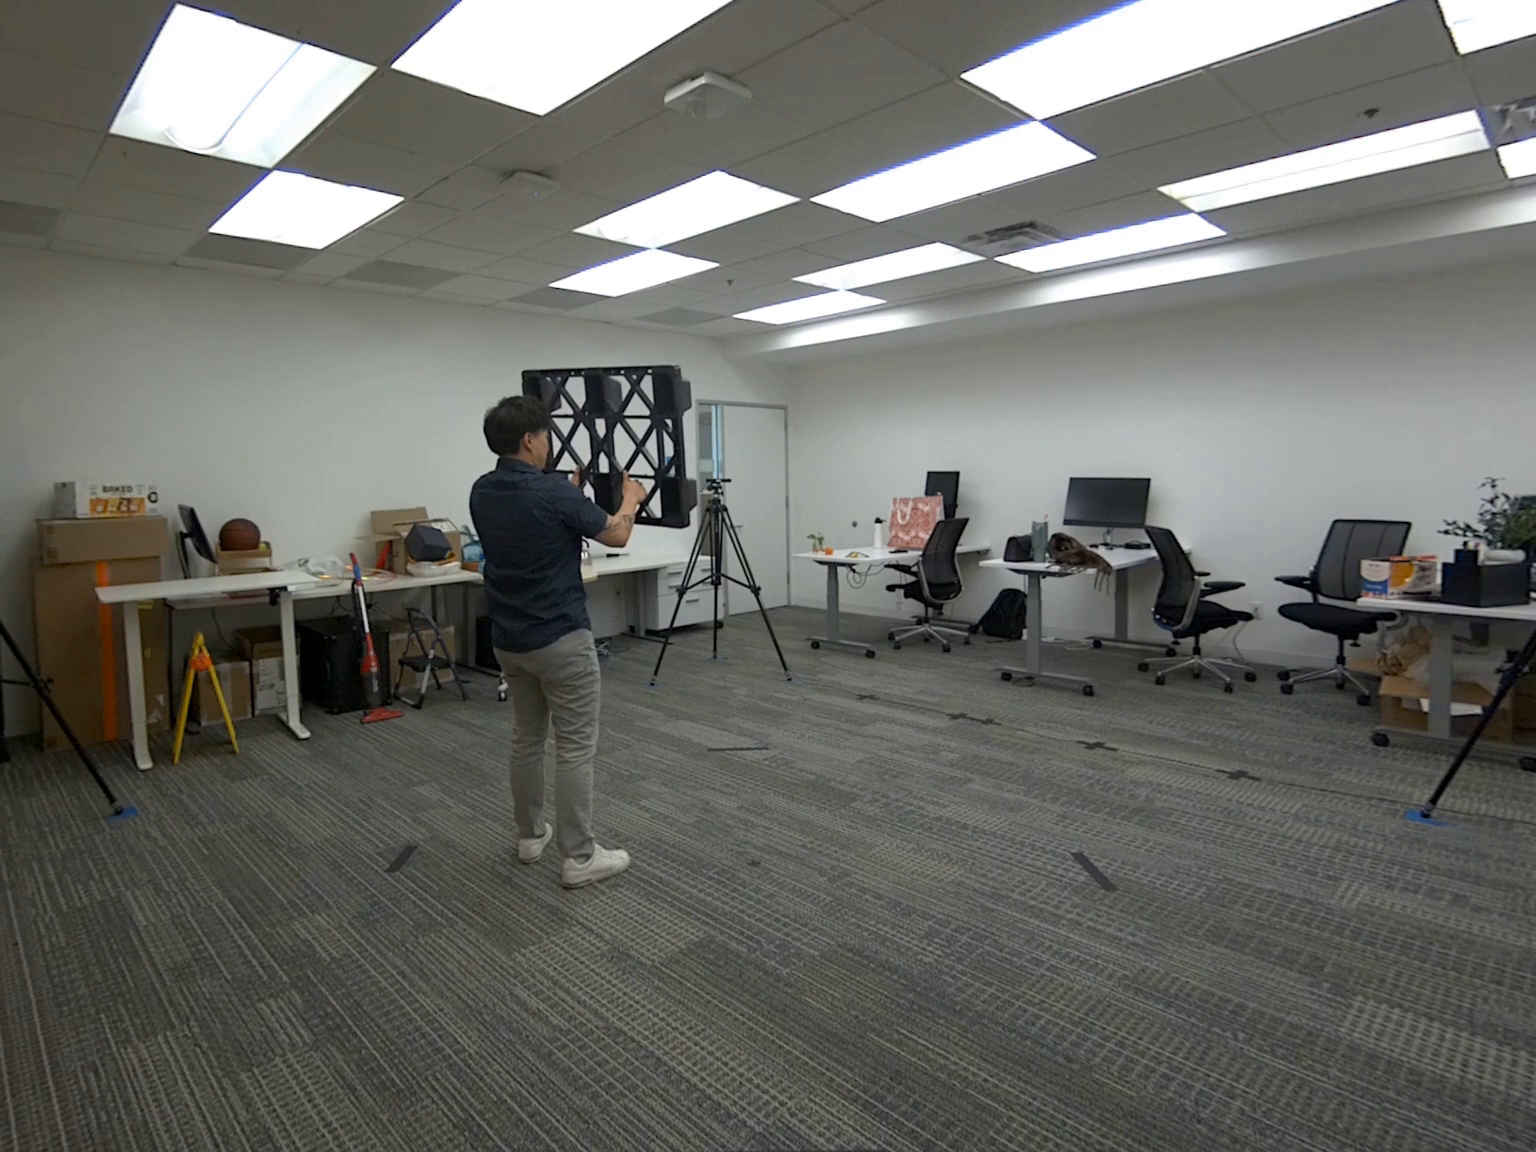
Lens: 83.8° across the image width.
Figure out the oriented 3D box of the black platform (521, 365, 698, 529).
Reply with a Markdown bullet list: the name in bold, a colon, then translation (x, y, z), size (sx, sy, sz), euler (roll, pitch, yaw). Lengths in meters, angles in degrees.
- **black platform**: translation (-0.625, -0.519, 3.358), size (0.829, 0.598, 0.141), euler (7, 15, 33)
